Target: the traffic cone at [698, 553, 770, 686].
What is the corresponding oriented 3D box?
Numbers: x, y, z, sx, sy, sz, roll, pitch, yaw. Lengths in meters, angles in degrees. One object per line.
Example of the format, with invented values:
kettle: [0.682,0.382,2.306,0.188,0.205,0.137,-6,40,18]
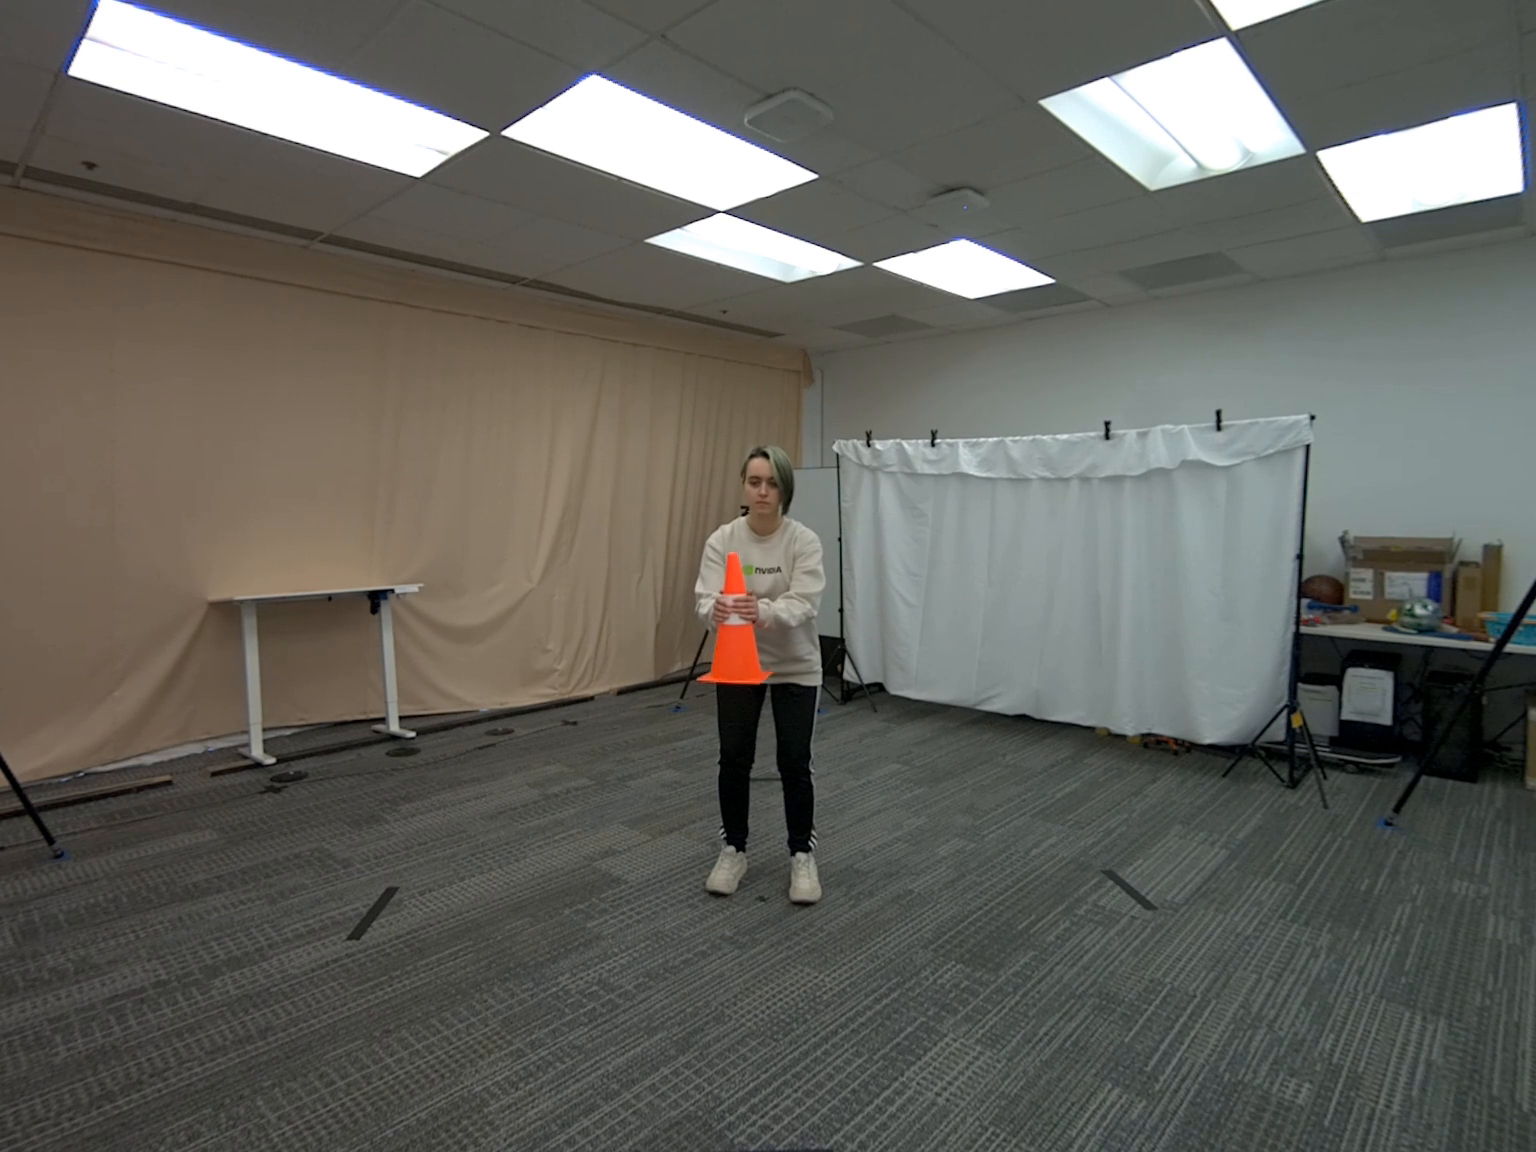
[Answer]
traffic cone: [-0.105,0.129,2.595,0.209,0.383,0.200,-1,3,17]
